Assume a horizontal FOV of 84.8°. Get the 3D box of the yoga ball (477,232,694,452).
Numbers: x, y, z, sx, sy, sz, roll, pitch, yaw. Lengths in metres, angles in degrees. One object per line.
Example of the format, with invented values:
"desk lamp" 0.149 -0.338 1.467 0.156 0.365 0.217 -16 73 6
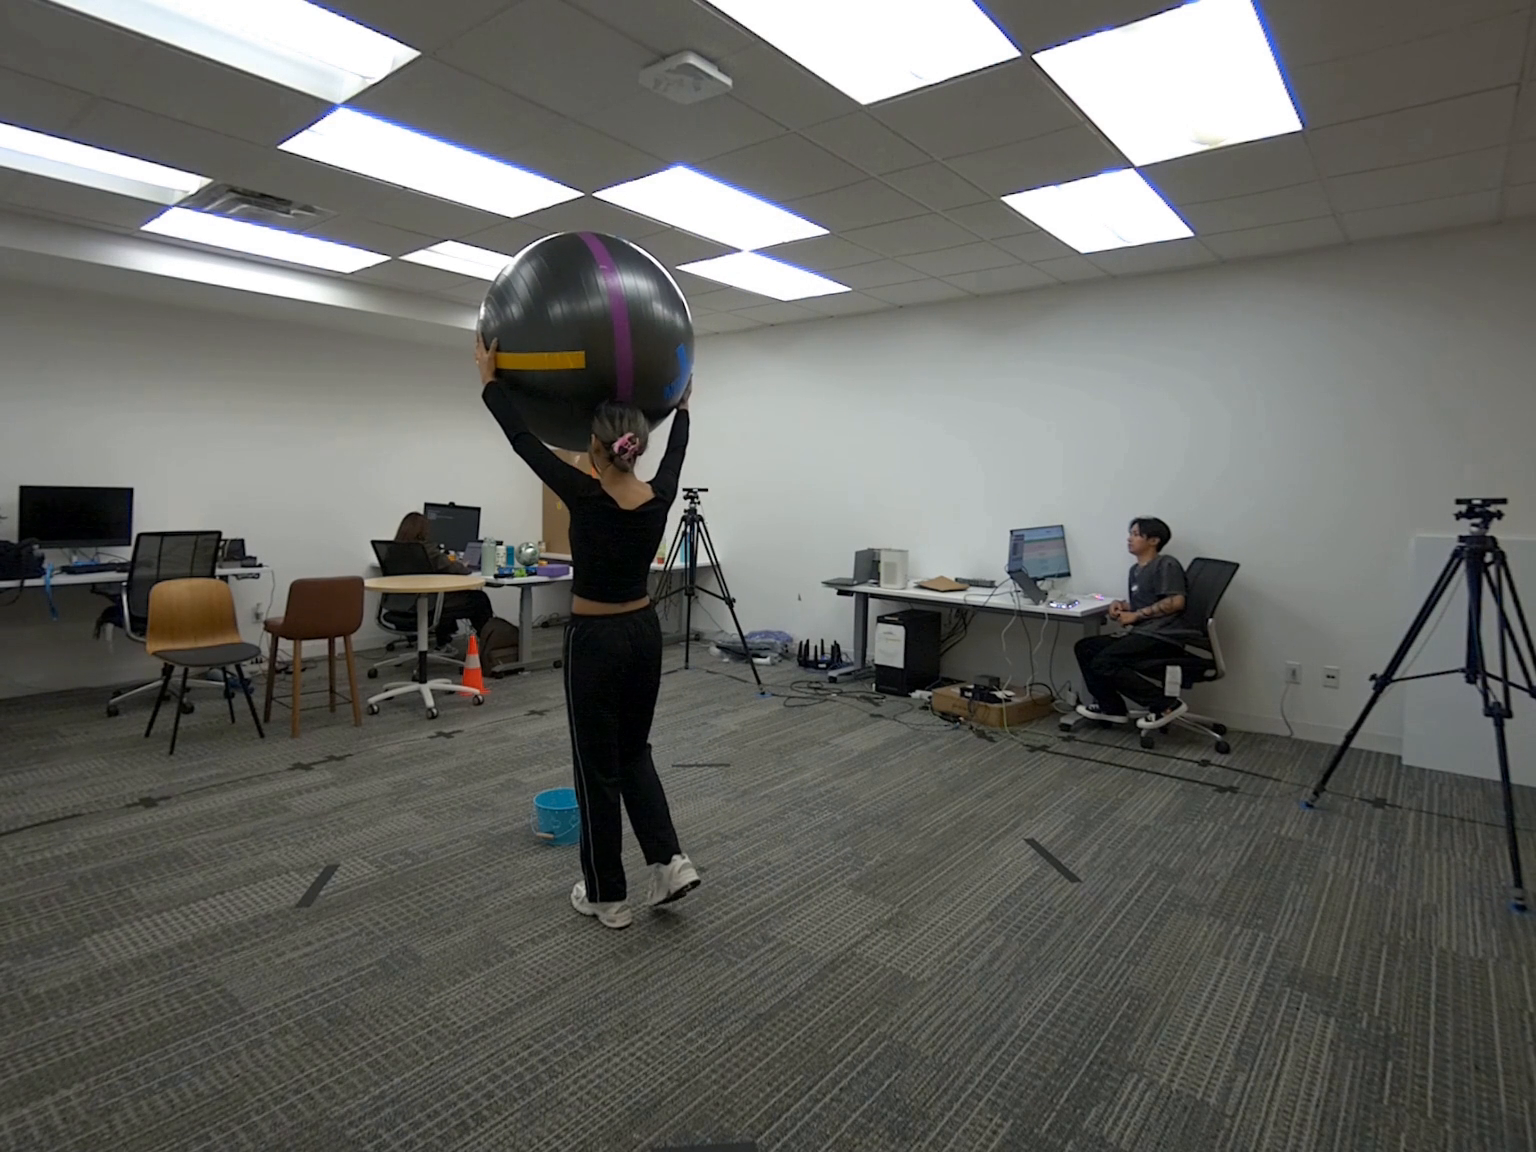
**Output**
"yoga ball" -0.648 -0.809 2.999 0.757 0.755 0.762 1 4 -2
